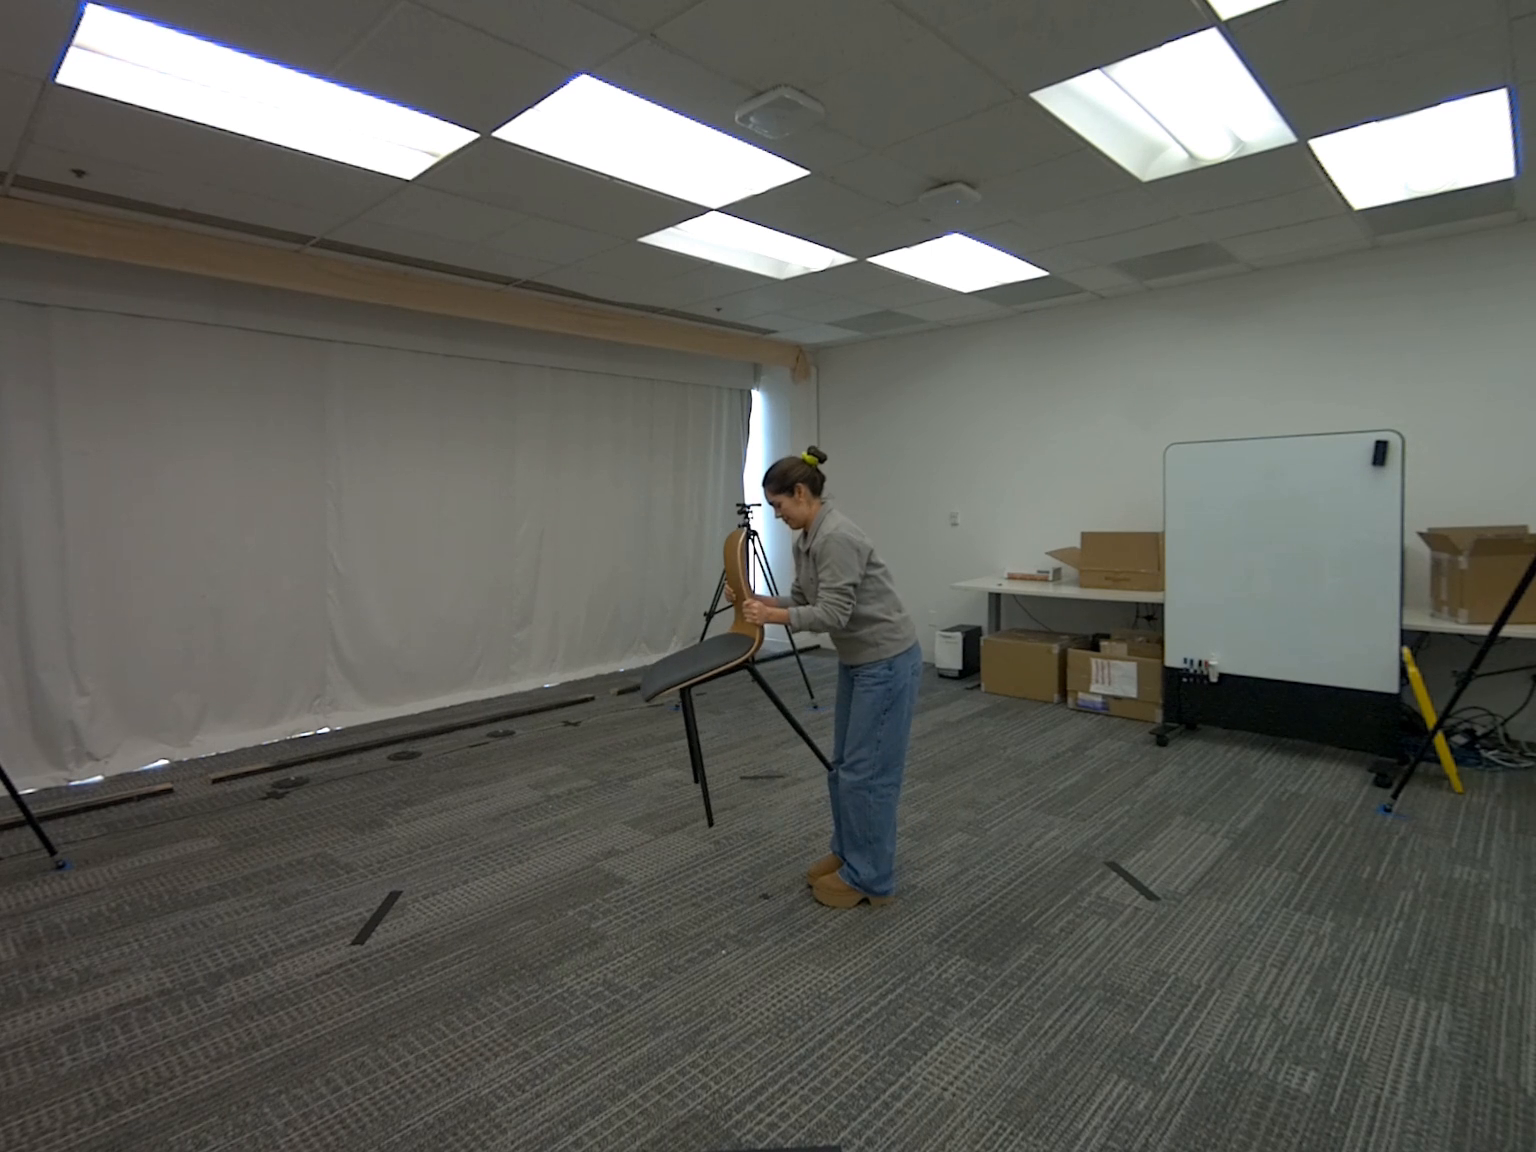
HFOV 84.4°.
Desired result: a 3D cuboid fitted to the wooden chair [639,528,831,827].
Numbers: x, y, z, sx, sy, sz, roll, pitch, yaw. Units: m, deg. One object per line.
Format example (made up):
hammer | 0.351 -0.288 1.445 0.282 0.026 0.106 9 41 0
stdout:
wooden chair | -0.188 0.337 2.946 0.520 0.872 0.484 -18 7 -8
